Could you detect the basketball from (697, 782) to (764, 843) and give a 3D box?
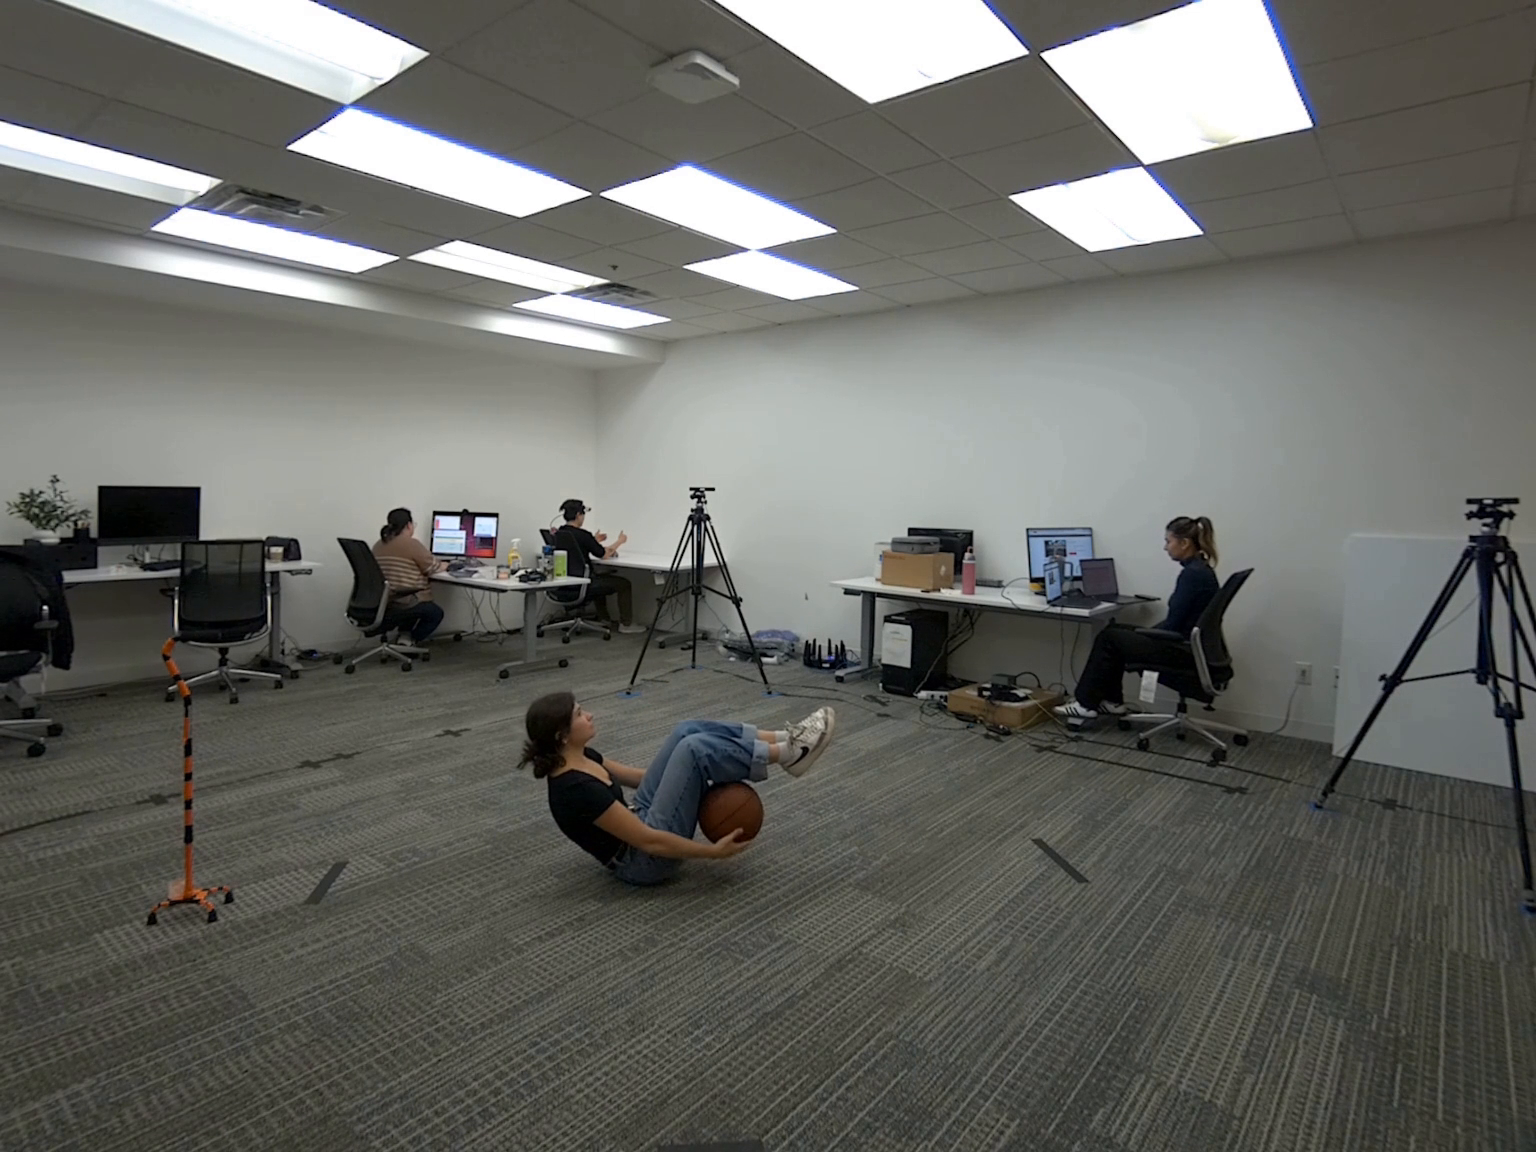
[{"bbox_3d":[-0.153,0.854,3.069,0.235,0.235,0.237,1,4,-2],"label":"basketball"}]
